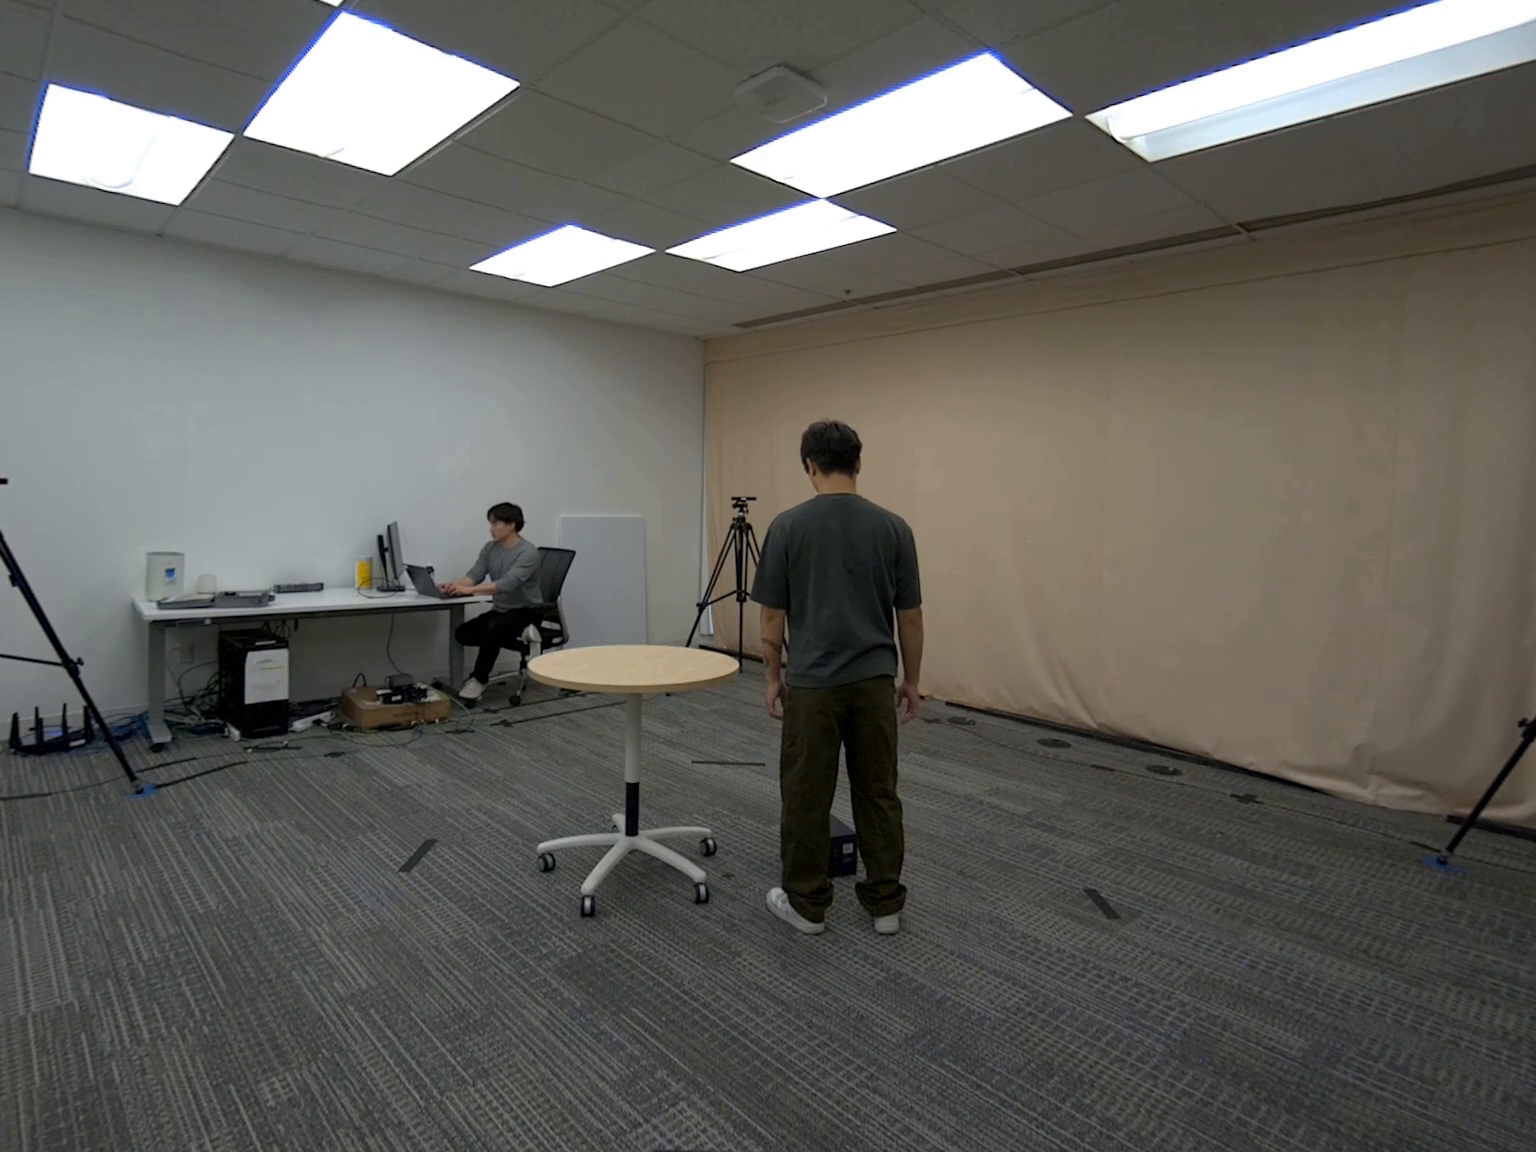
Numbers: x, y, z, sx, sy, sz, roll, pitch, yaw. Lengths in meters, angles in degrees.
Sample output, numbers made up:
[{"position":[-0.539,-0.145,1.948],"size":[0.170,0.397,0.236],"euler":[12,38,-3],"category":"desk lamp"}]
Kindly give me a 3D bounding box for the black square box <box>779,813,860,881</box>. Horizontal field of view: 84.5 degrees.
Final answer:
[{"position":[0.189,1.023,3.201],"size":[0.213,0.155,0.232],"euler":[-1,4,-23],"category":"black square box"}]
